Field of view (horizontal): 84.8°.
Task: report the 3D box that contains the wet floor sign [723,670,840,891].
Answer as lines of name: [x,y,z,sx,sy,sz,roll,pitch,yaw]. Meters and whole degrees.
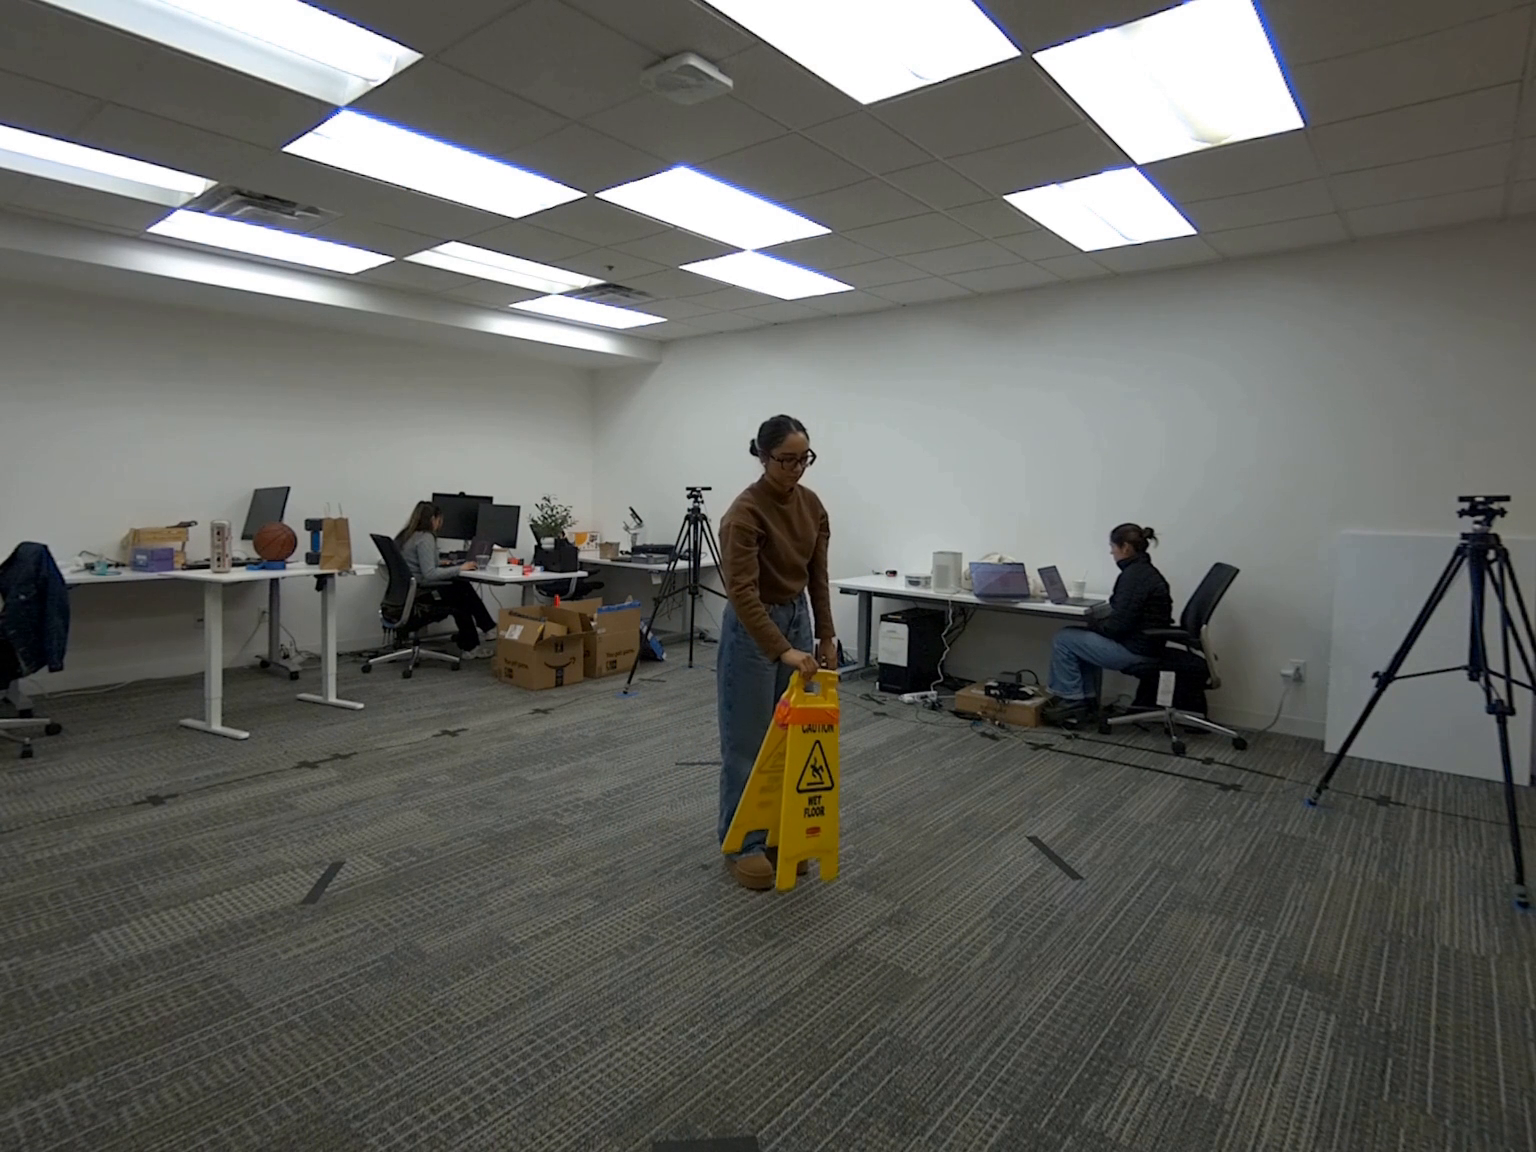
wet floor sign: [0.093,0.618,2.751,0.272,0.645,0.300,8,3,-42]
